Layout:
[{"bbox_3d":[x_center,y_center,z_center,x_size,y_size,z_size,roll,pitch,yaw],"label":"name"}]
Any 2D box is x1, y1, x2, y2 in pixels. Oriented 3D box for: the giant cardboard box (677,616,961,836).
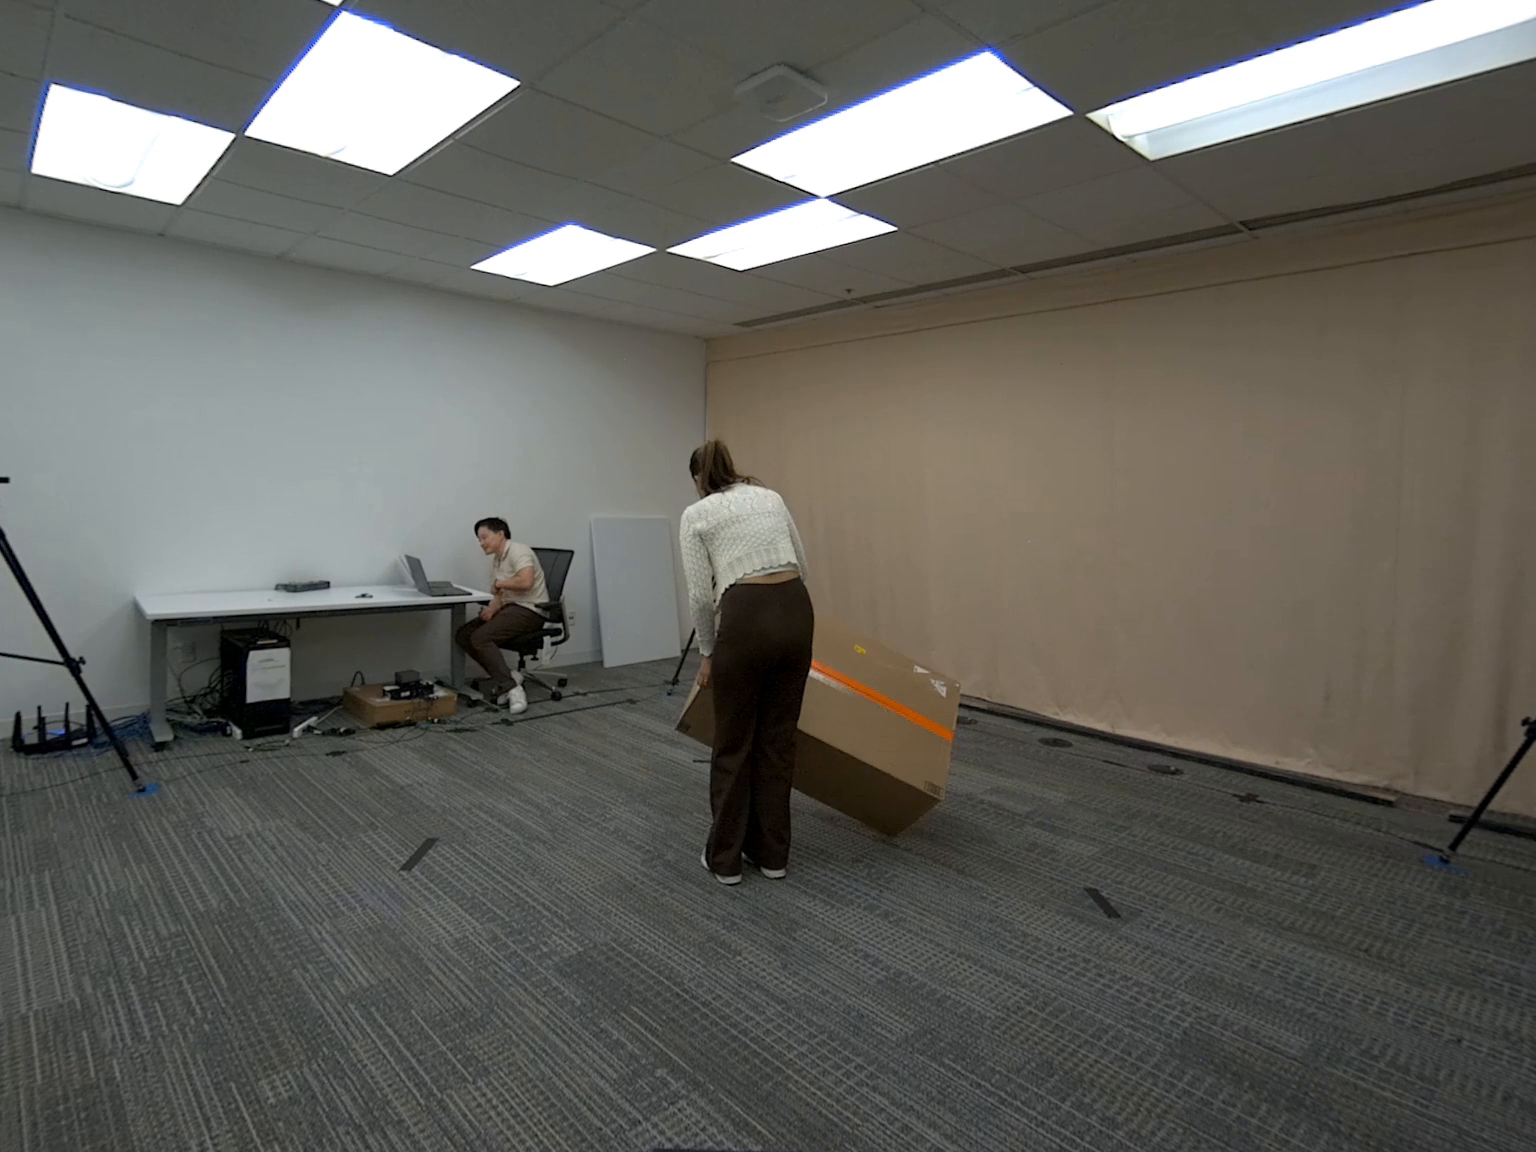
[{"bbox_3d":[0.219,0.559,3.548,1.026,0.422,0.583,26,47,0],"label":"giant cardboard box"}]
